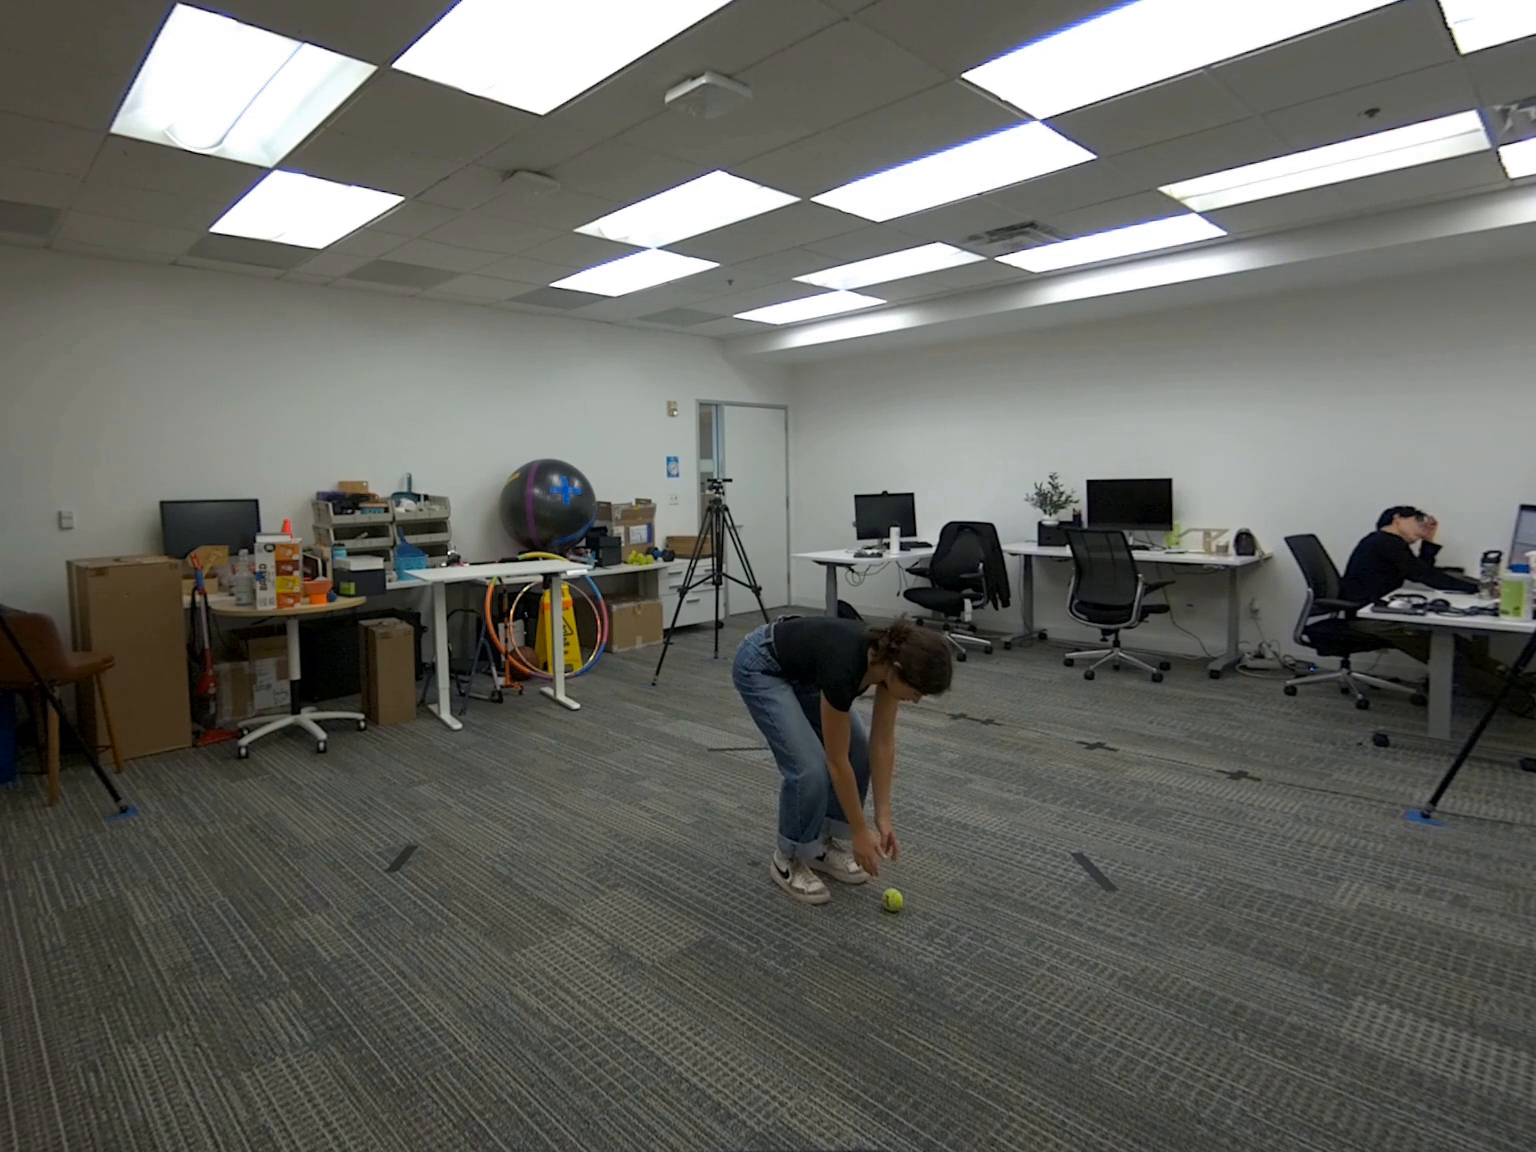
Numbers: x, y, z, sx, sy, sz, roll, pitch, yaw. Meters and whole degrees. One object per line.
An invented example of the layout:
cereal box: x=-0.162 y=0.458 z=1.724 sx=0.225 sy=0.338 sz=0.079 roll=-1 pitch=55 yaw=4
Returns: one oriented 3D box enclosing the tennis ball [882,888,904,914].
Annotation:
tennis ball: x=0.407 y=1.024 z=2.757 sx=0.066 sy=0.066 sz=0.067 roll=-1 pitch=5 yaw=-2
